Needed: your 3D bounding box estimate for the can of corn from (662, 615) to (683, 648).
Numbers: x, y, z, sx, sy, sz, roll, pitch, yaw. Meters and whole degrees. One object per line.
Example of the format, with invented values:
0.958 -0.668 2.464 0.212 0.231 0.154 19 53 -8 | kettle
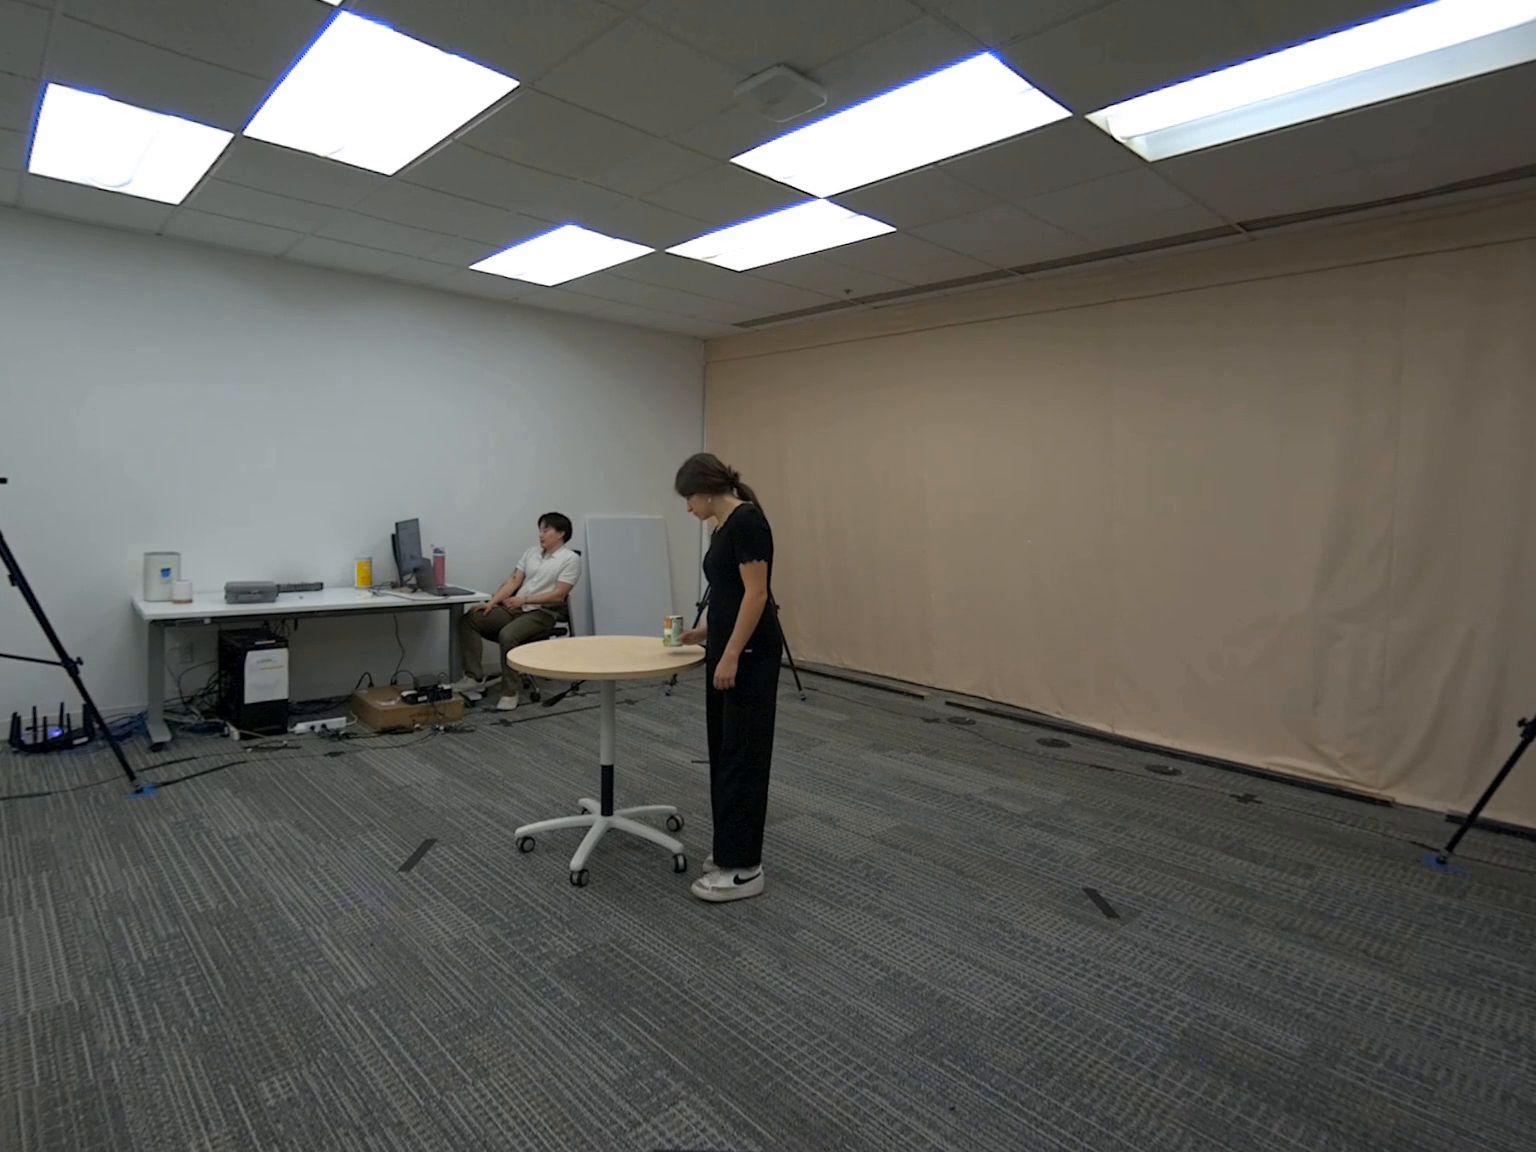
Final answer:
-0.370 0.213 3.229 0.074 0.111 0.074 1 -2 -1 | can of corn
